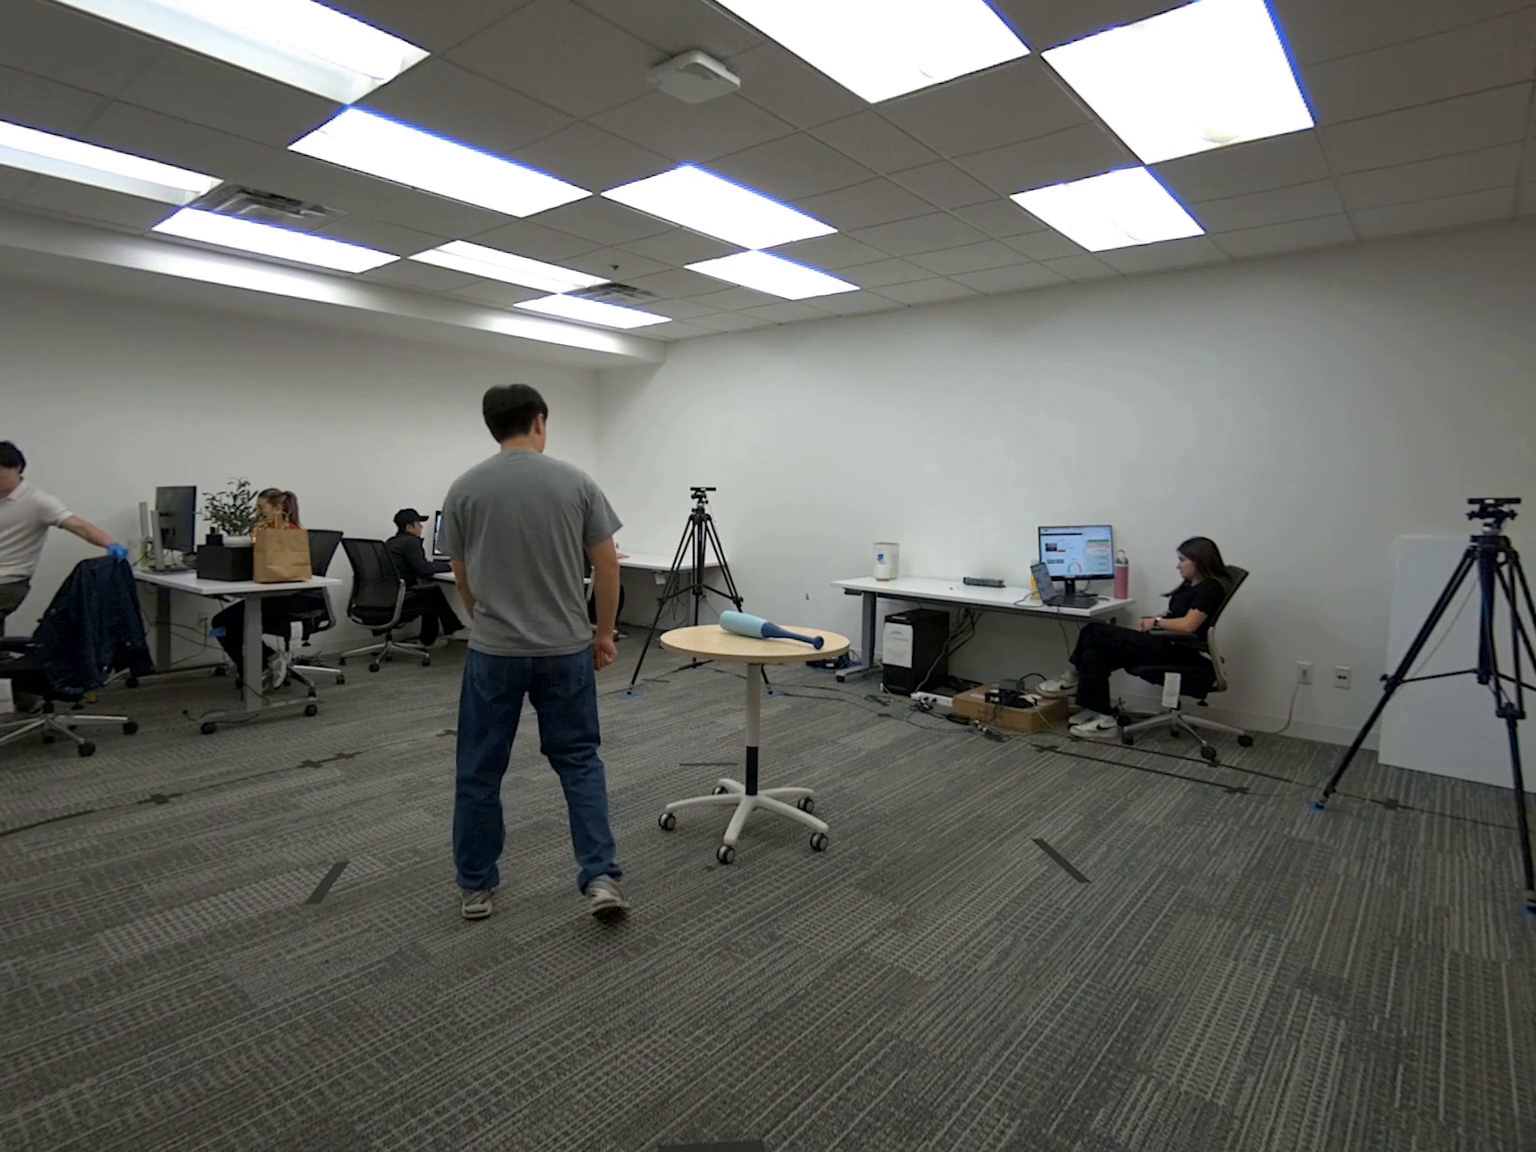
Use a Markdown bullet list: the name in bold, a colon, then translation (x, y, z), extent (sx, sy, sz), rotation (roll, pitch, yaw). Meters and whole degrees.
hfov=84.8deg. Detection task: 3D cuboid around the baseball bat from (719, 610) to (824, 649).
- **baseball bat**: translation (-0.001, 0.219, 3.416), extent (0.086, 0.088, 0.563), rotation (-3, 9, -43)
